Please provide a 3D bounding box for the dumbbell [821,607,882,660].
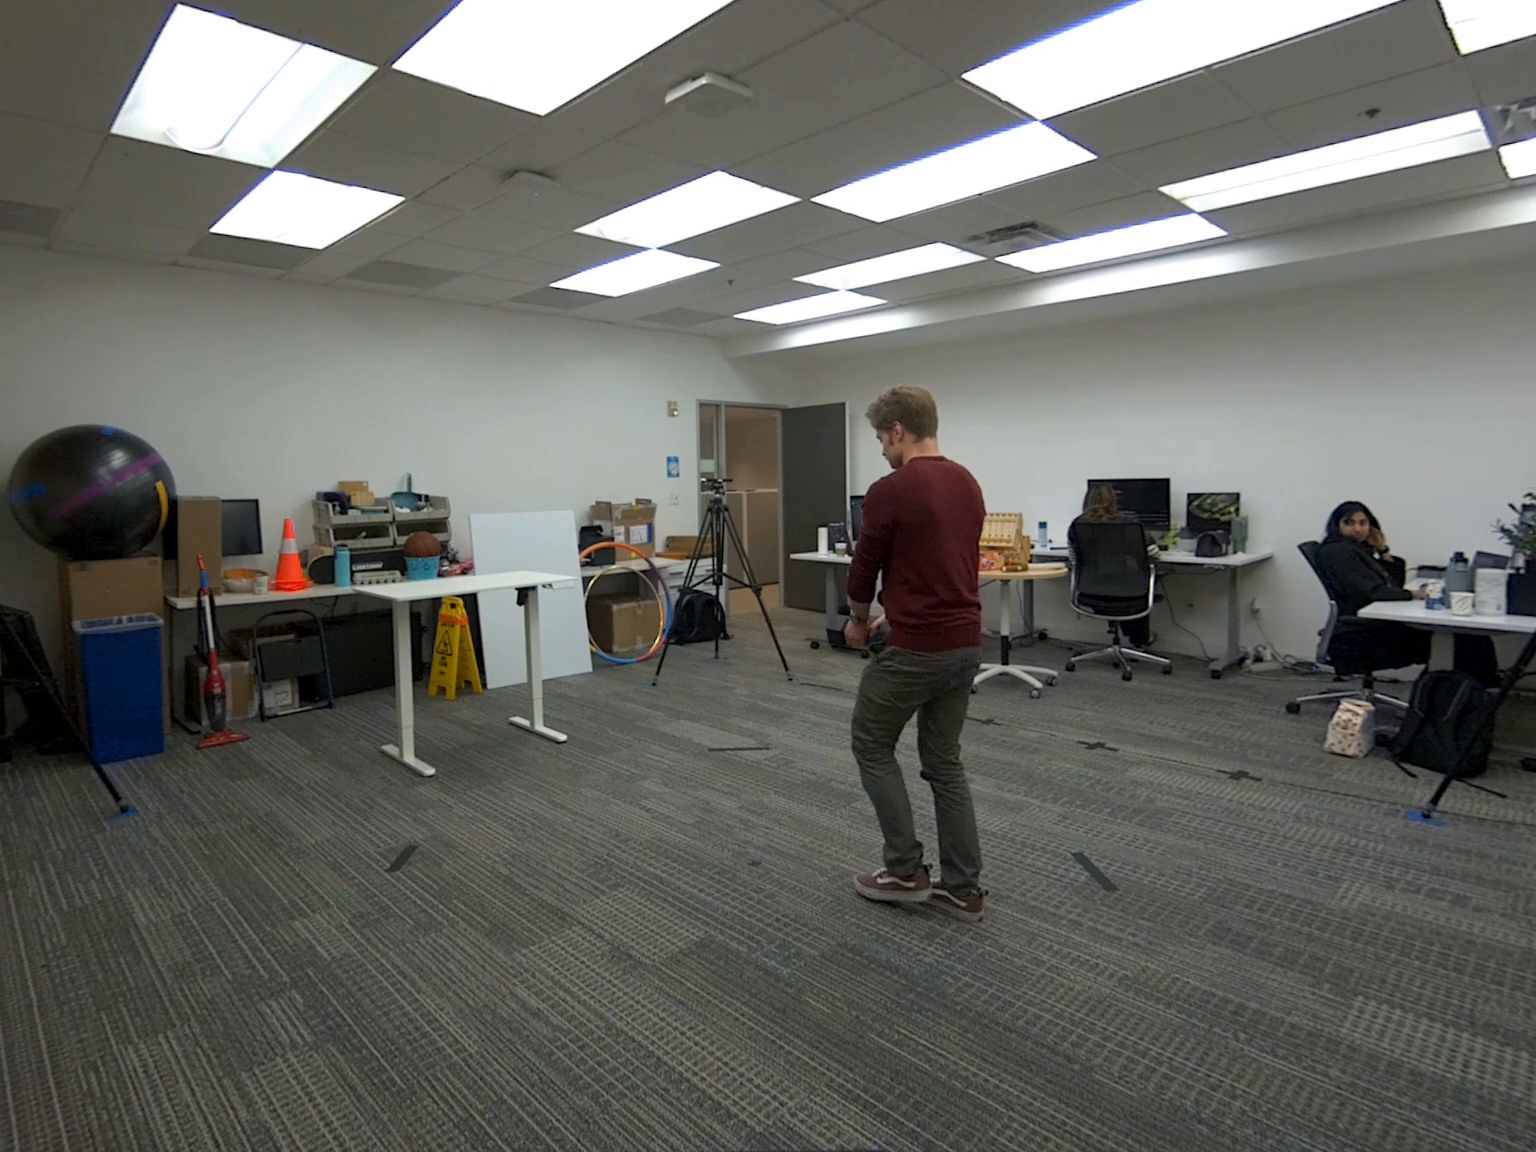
[{"bbox_3d":[0.352,0.213,3.015,0.303,0.123,0.104,10,-30,43],"label":"dumbbell"}]
